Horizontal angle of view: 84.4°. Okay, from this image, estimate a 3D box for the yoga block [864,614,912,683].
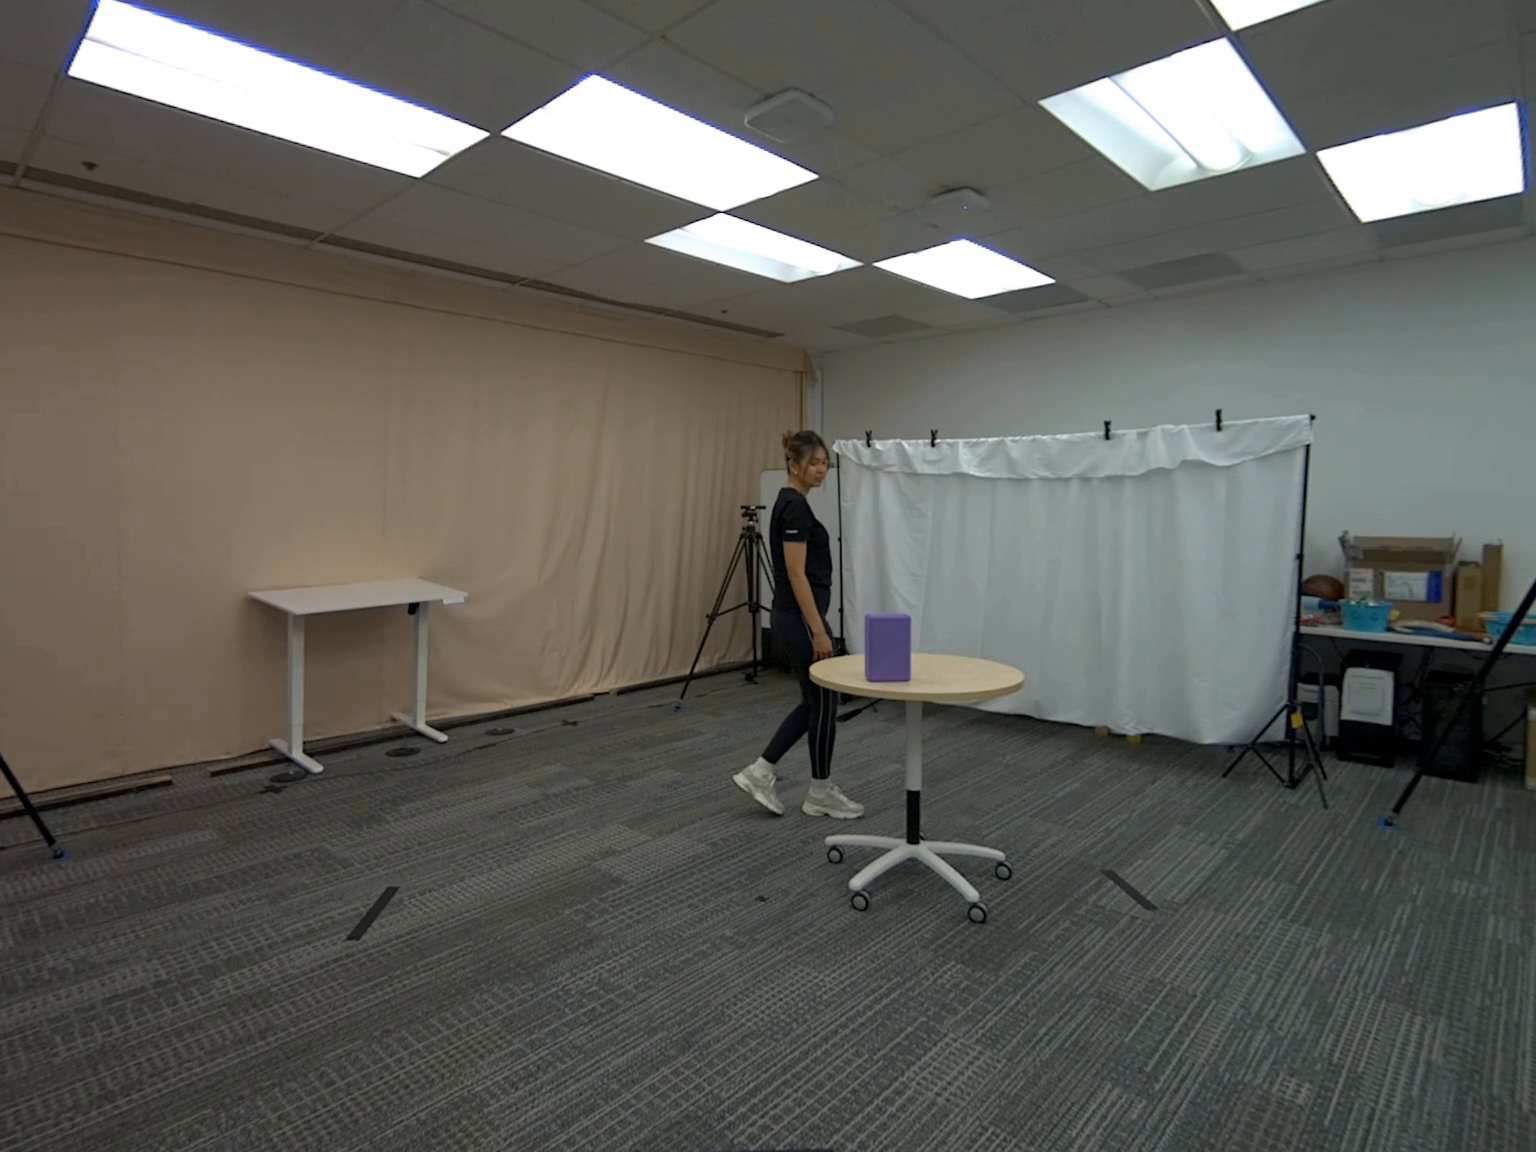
[{"bbox_3d":[0.420,0.249,2.927,0.149,0.229,0.076,-6,2,1],"label":"yoga block"}]
